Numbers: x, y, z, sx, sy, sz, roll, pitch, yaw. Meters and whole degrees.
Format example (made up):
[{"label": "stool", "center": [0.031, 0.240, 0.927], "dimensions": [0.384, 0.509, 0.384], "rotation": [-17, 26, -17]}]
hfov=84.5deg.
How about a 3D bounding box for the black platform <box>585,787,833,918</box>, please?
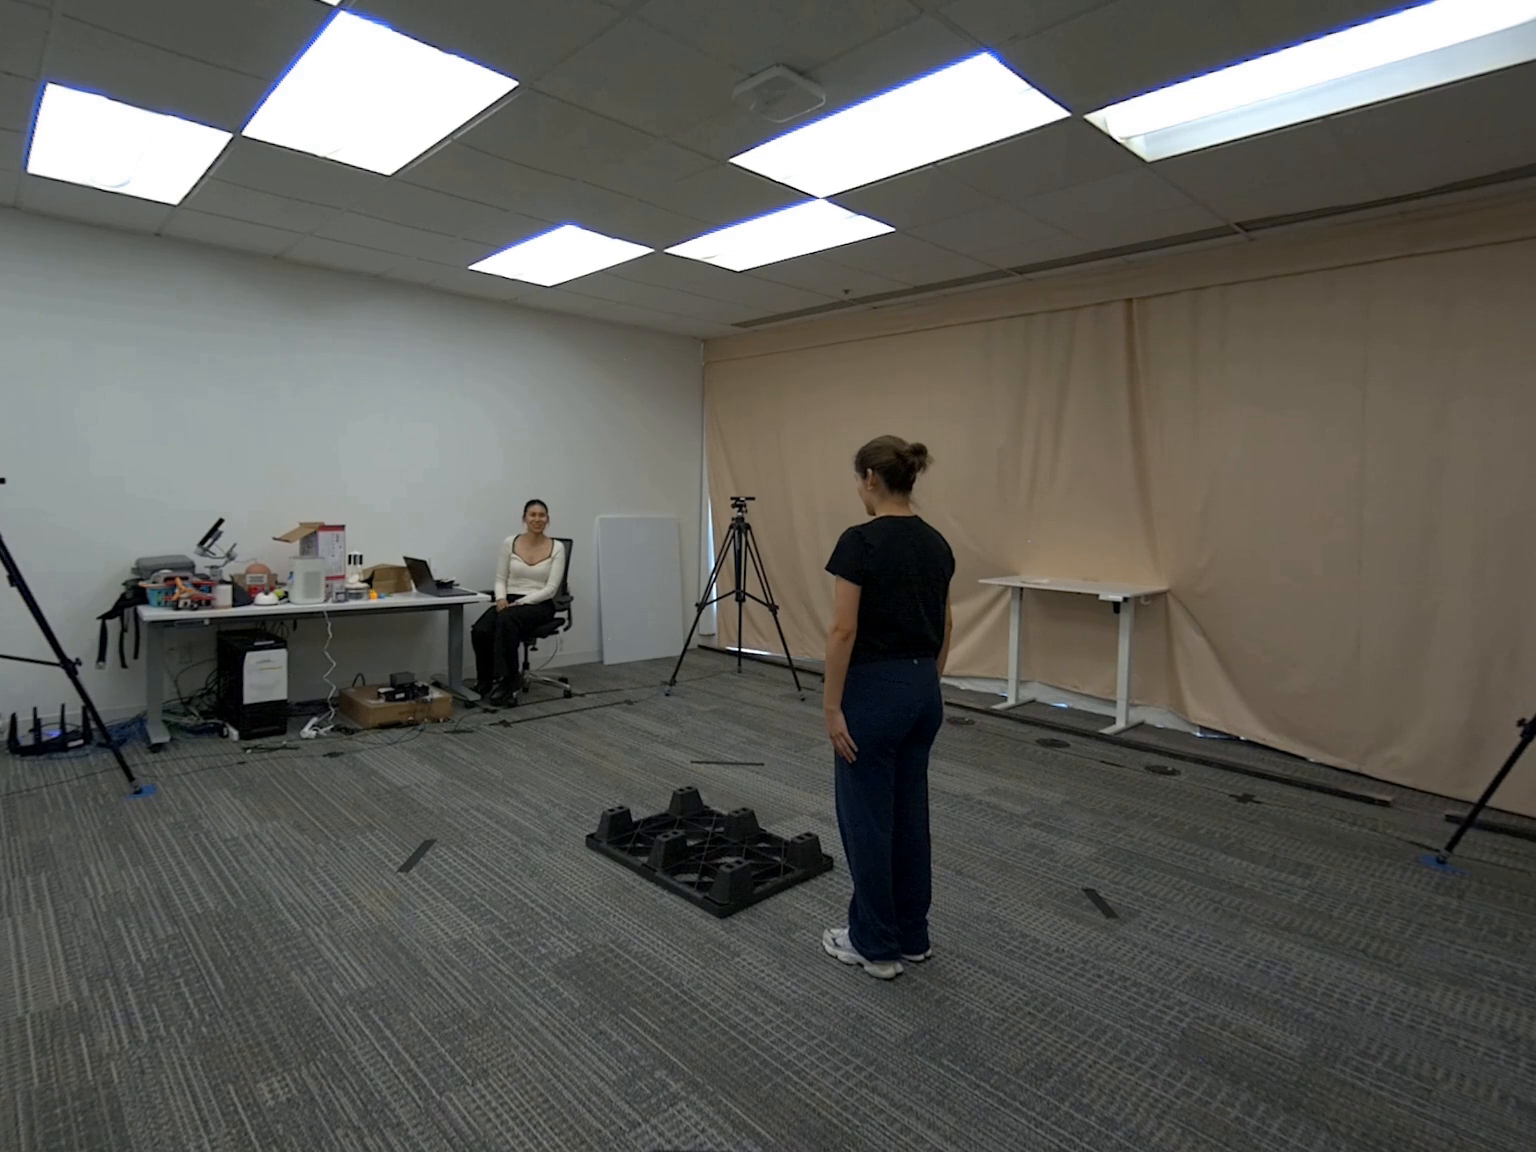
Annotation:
[{"label": "black platform", "center": [-0.245, 1.026, 3.249], "dimensions": [0.826, 0.143, 0.591], "rotation": [6, 6, 44]}]
